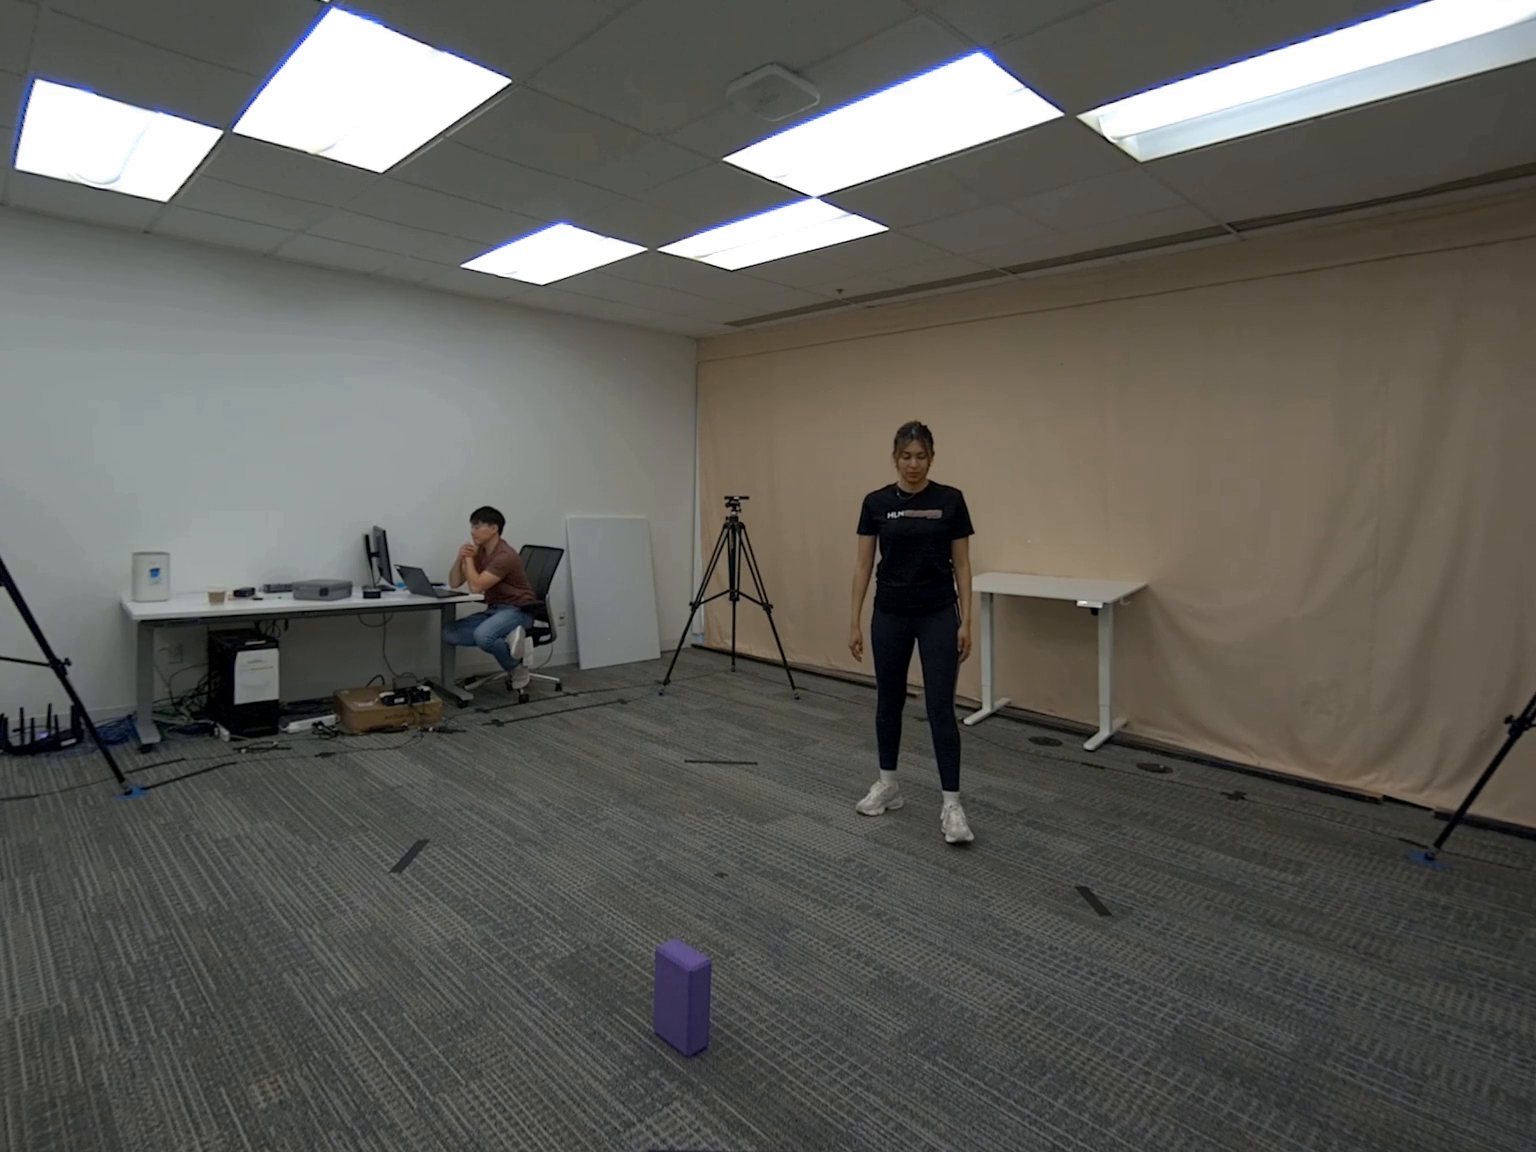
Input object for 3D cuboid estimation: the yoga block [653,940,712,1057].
[{"bbox_3d":[-0.225,1.078,2.145,0.153,0.229,0.074,3,3,43],"label":"yoga block"}]
